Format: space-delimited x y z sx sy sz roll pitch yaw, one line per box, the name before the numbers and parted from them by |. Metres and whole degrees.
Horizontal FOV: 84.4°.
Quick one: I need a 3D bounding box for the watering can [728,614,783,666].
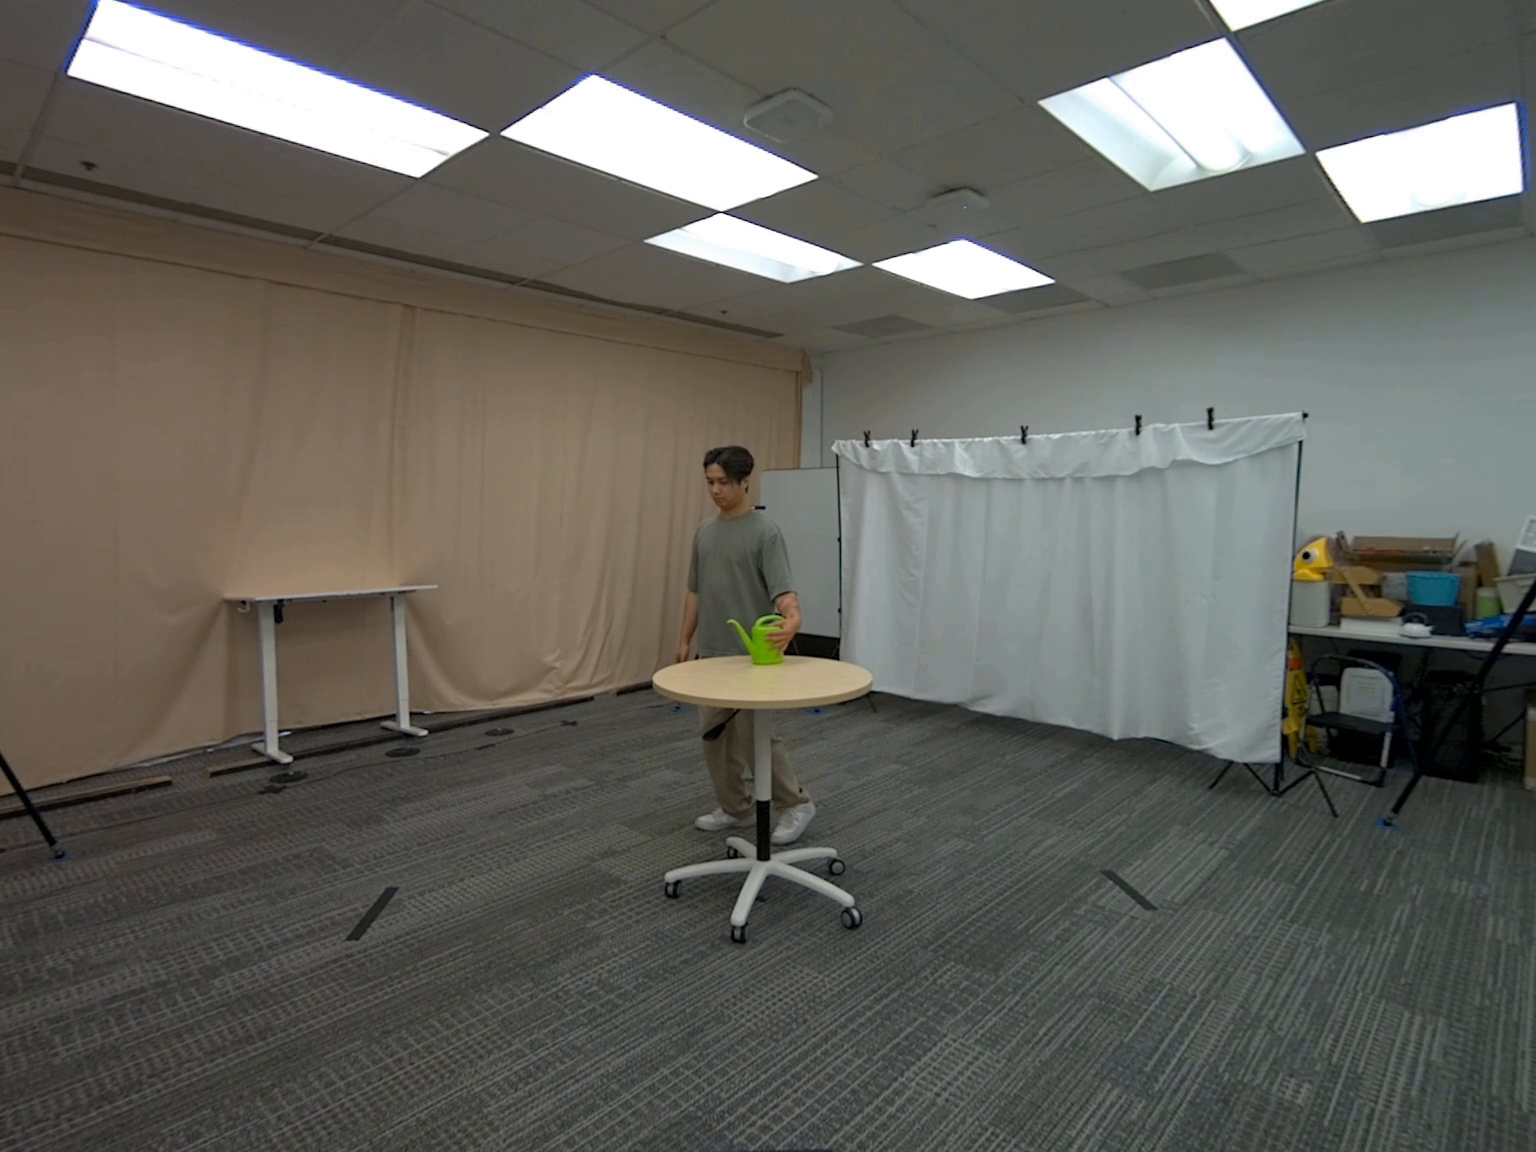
watering can | -0.041 0.242 3.170 0.272 0.176 0.100 0 2 -24
